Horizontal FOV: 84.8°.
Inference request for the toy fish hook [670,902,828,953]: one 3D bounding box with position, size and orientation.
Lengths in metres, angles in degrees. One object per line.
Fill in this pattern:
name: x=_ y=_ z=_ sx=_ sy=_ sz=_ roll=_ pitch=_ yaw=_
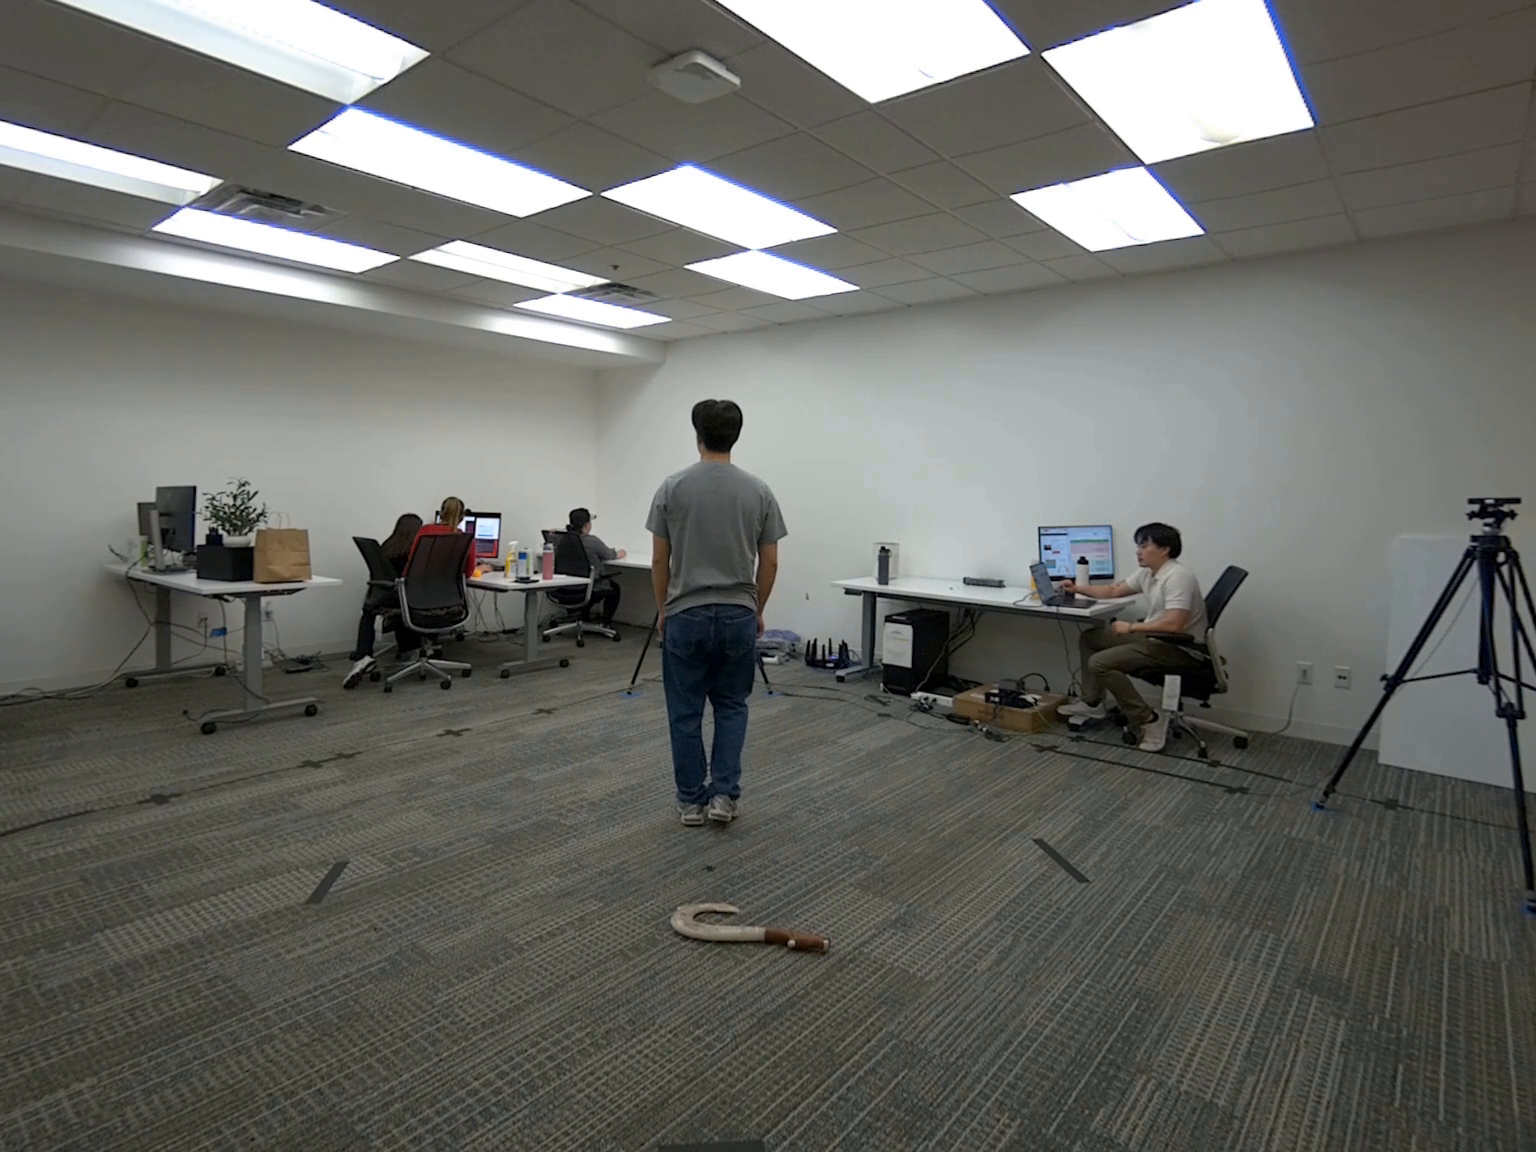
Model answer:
toy fish hook: x=-0.057 y=1.090 z=2.665 sx=0.514 sy=0.048 sz=0.222 roll=3 pitch=7 yaw=14
